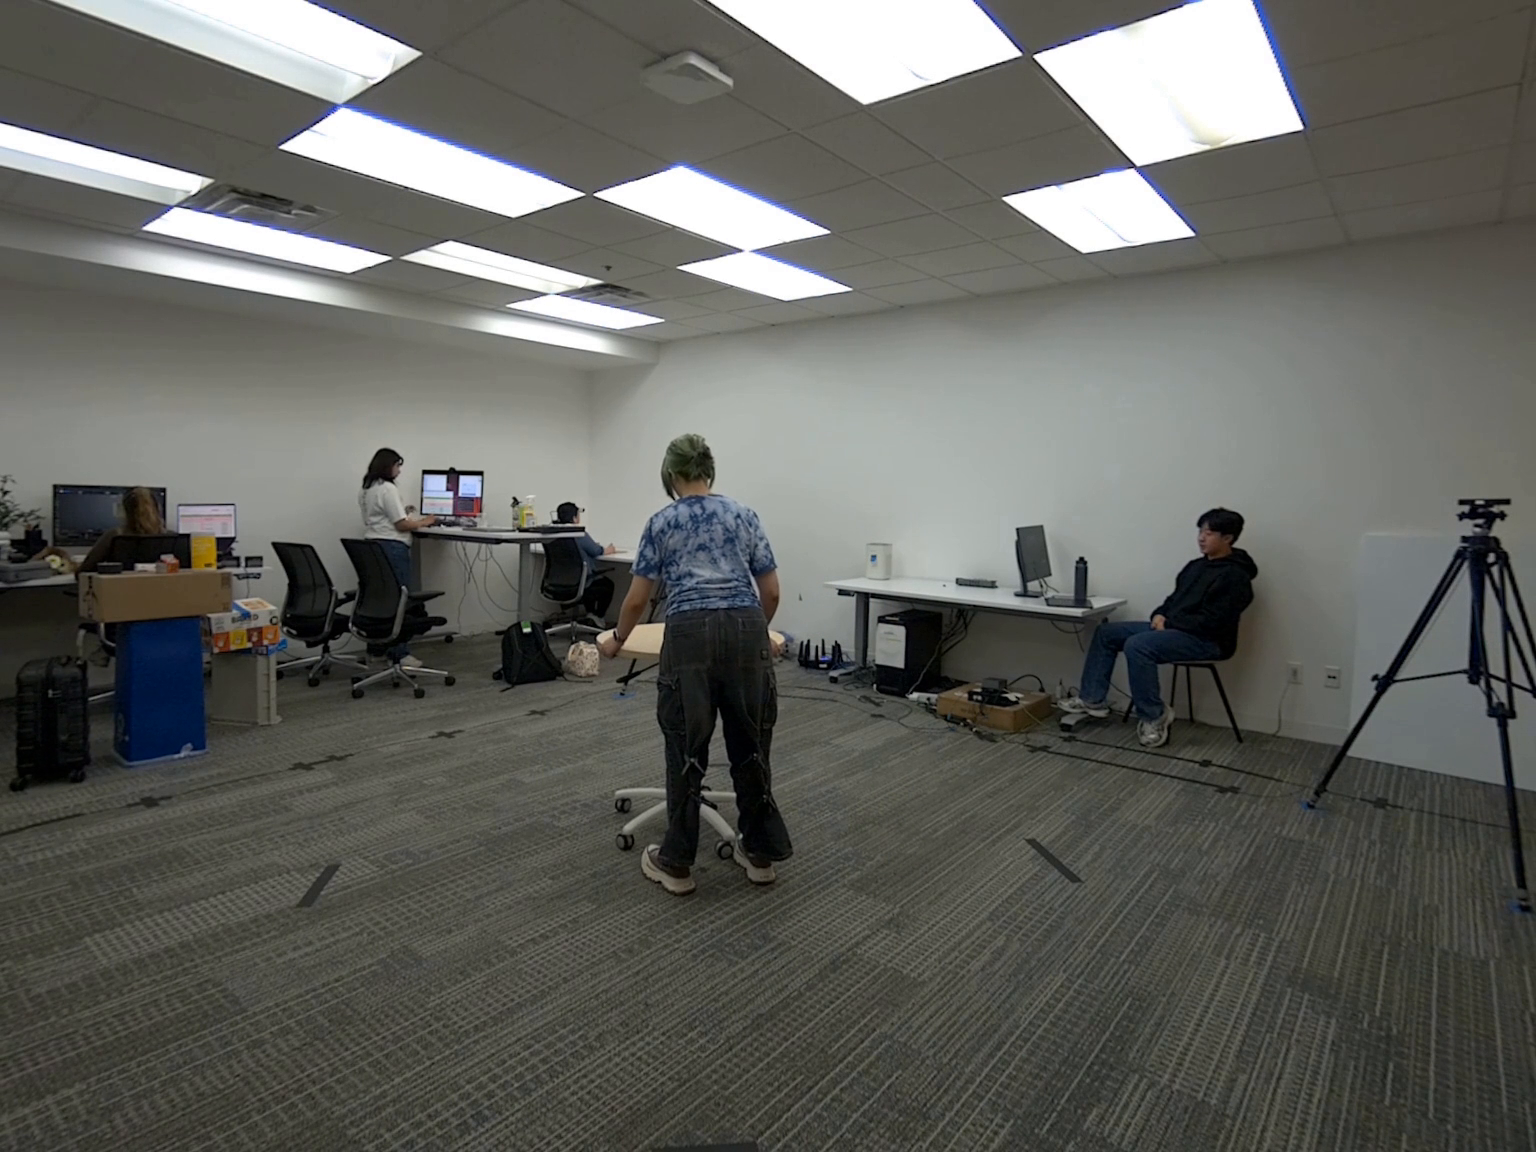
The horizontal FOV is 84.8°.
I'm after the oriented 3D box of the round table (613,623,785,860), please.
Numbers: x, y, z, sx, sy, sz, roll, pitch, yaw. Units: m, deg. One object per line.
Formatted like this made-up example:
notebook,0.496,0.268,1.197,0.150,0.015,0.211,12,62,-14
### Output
round table,-0.340,0.637,3.487,0.763,0.792,0.767,0,4,-2
